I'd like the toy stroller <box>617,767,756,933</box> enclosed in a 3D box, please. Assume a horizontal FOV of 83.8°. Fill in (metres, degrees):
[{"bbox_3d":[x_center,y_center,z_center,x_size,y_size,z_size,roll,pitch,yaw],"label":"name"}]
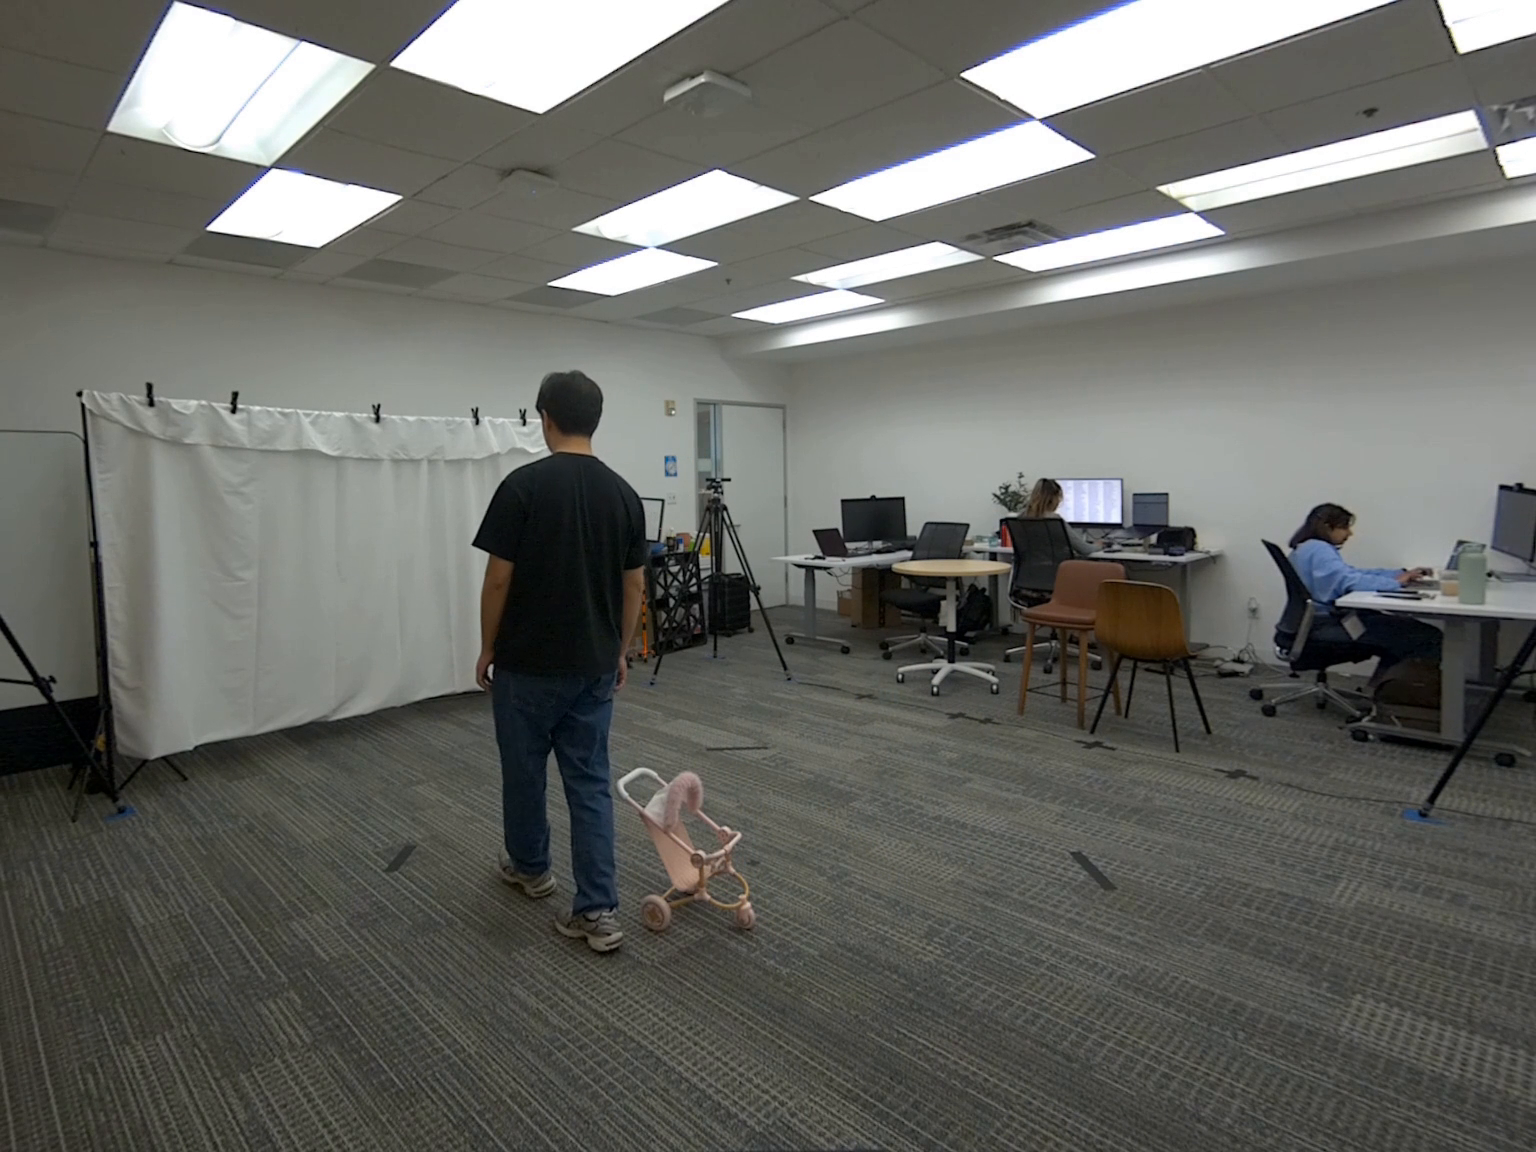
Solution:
[{"bbox_3d":[-0.246,0.867,2.725,0.347,0.537,0.275,-17,-4,30],"label":"toy stroller"}]
